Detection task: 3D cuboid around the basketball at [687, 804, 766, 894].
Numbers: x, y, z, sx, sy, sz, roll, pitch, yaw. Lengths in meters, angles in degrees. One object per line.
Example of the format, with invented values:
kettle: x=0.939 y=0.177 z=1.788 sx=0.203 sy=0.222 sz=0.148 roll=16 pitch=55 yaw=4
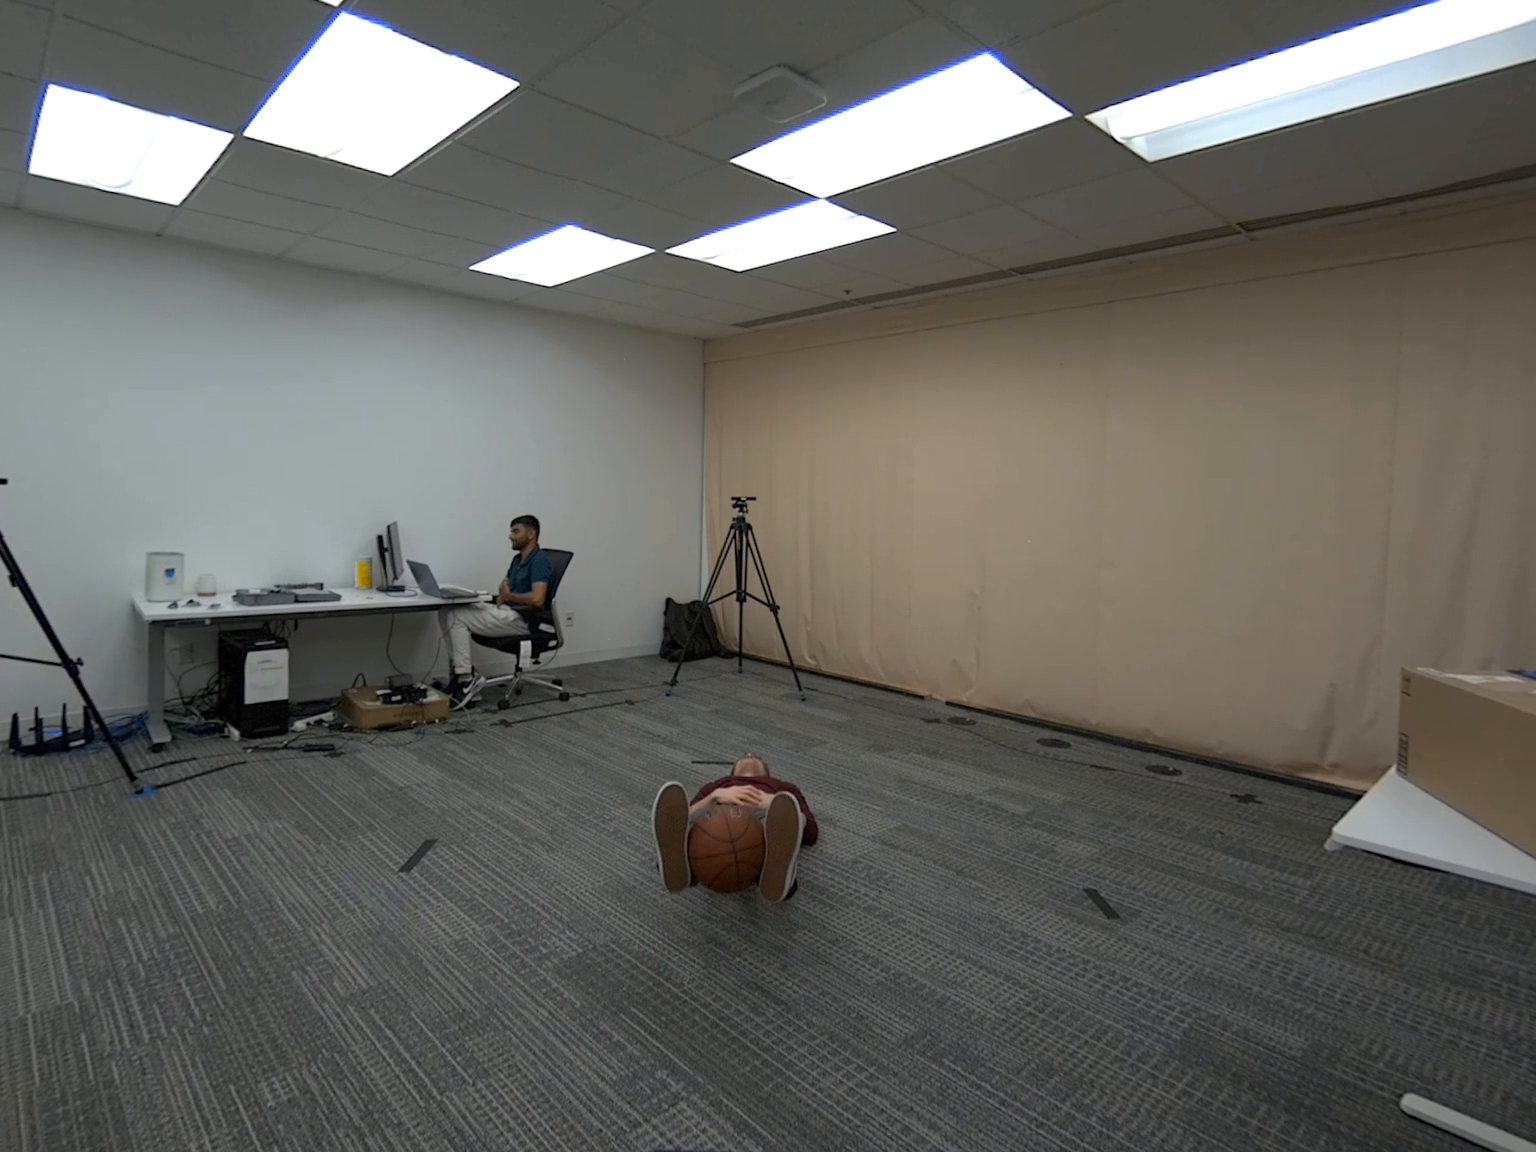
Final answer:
basketball: x=-0.121 y=0.769 z=2.391 sx=0.236 sy=0.234 sz=0.237 roll=0 pitch=7 yaw=-1
